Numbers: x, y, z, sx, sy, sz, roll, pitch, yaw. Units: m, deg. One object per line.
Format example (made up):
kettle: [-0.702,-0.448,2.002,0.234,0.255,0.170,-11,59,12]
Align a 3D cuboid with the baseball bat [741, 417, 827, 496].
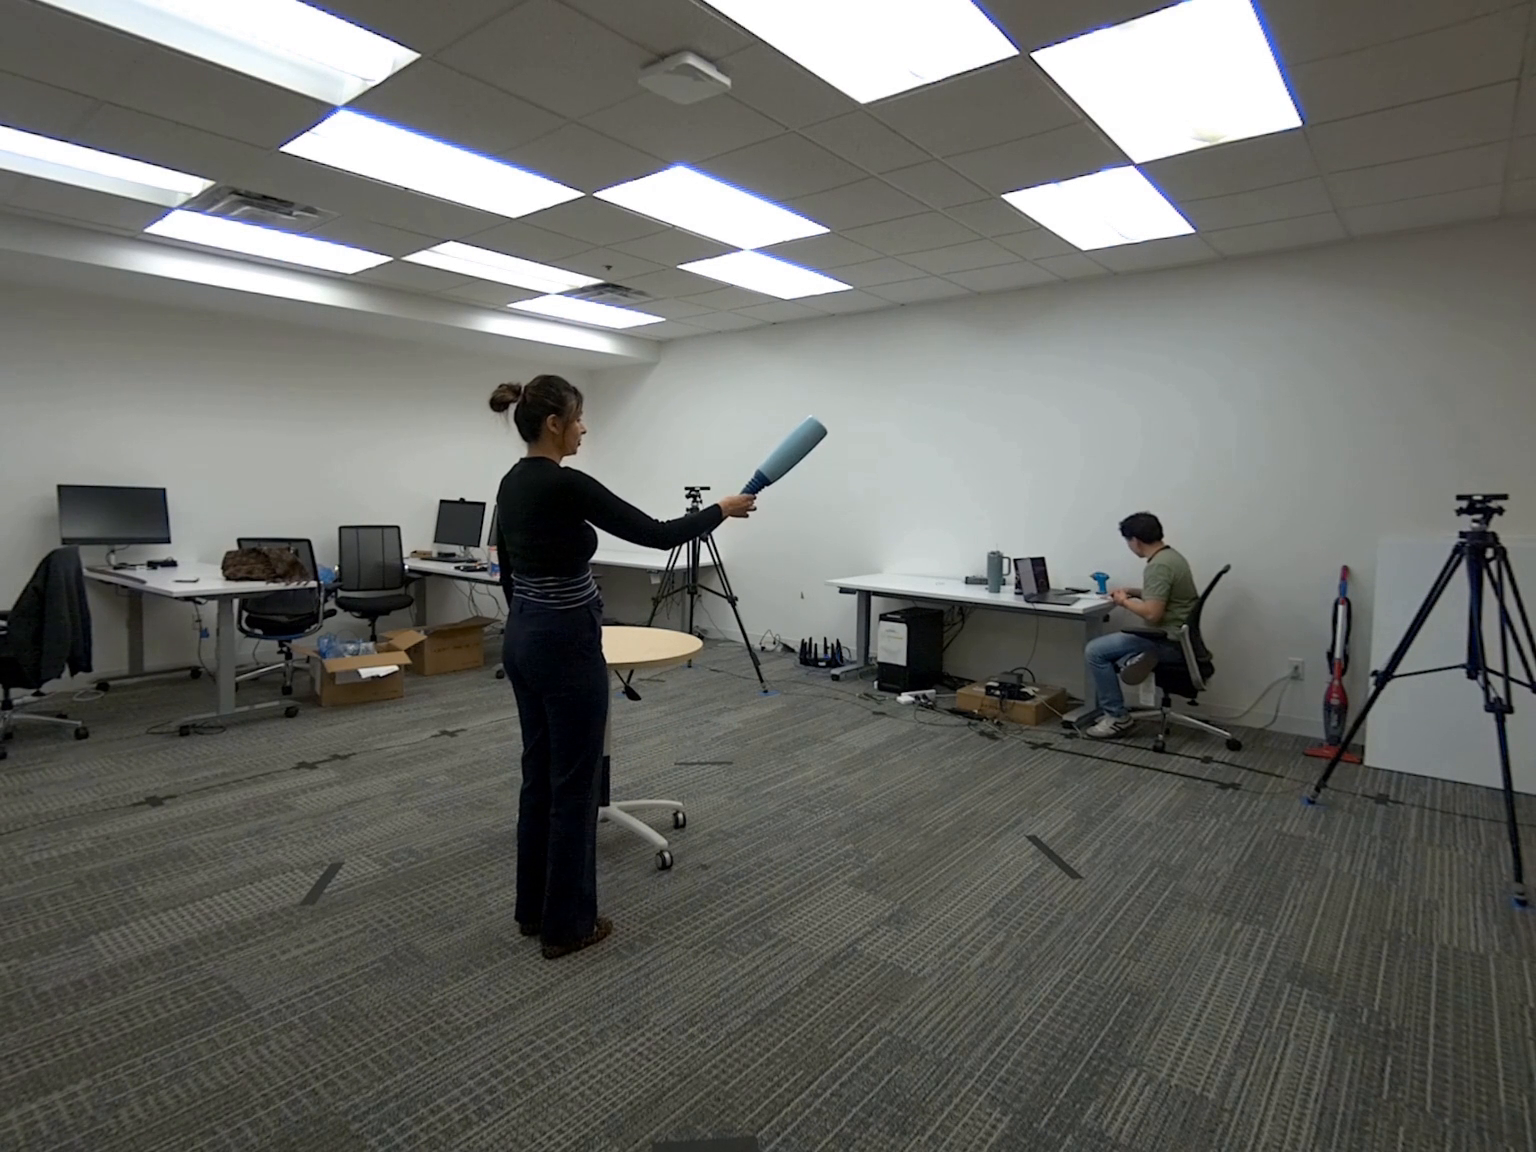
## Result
baseball bat: [-0.029,-0.315,2.755,0.543,0.088,0.089,-44,5,1]
